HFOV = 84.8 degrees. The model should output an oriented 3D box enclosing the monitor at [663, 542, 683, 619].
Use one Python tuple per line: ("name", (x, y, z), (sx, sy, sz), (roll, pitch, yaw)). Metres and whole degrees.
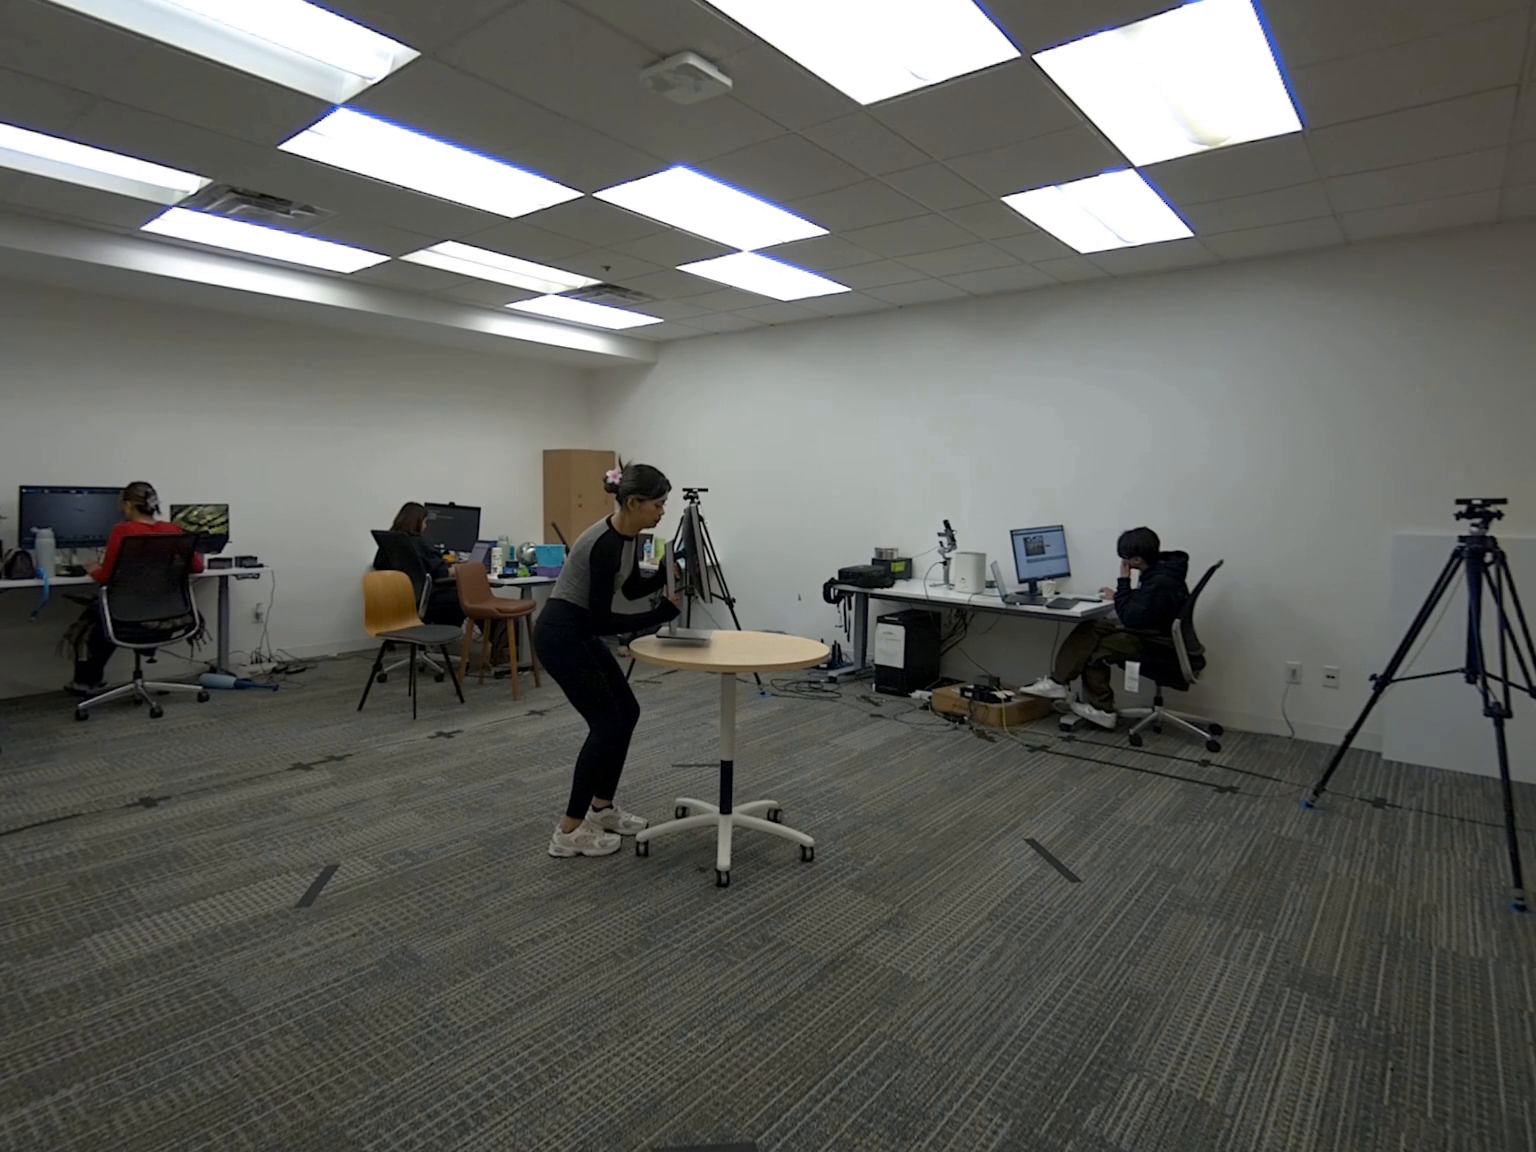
("monitor", (-0.326, -0.012, 3.293), (0.186, 0.522, 0.543), (4, 1, -8))
